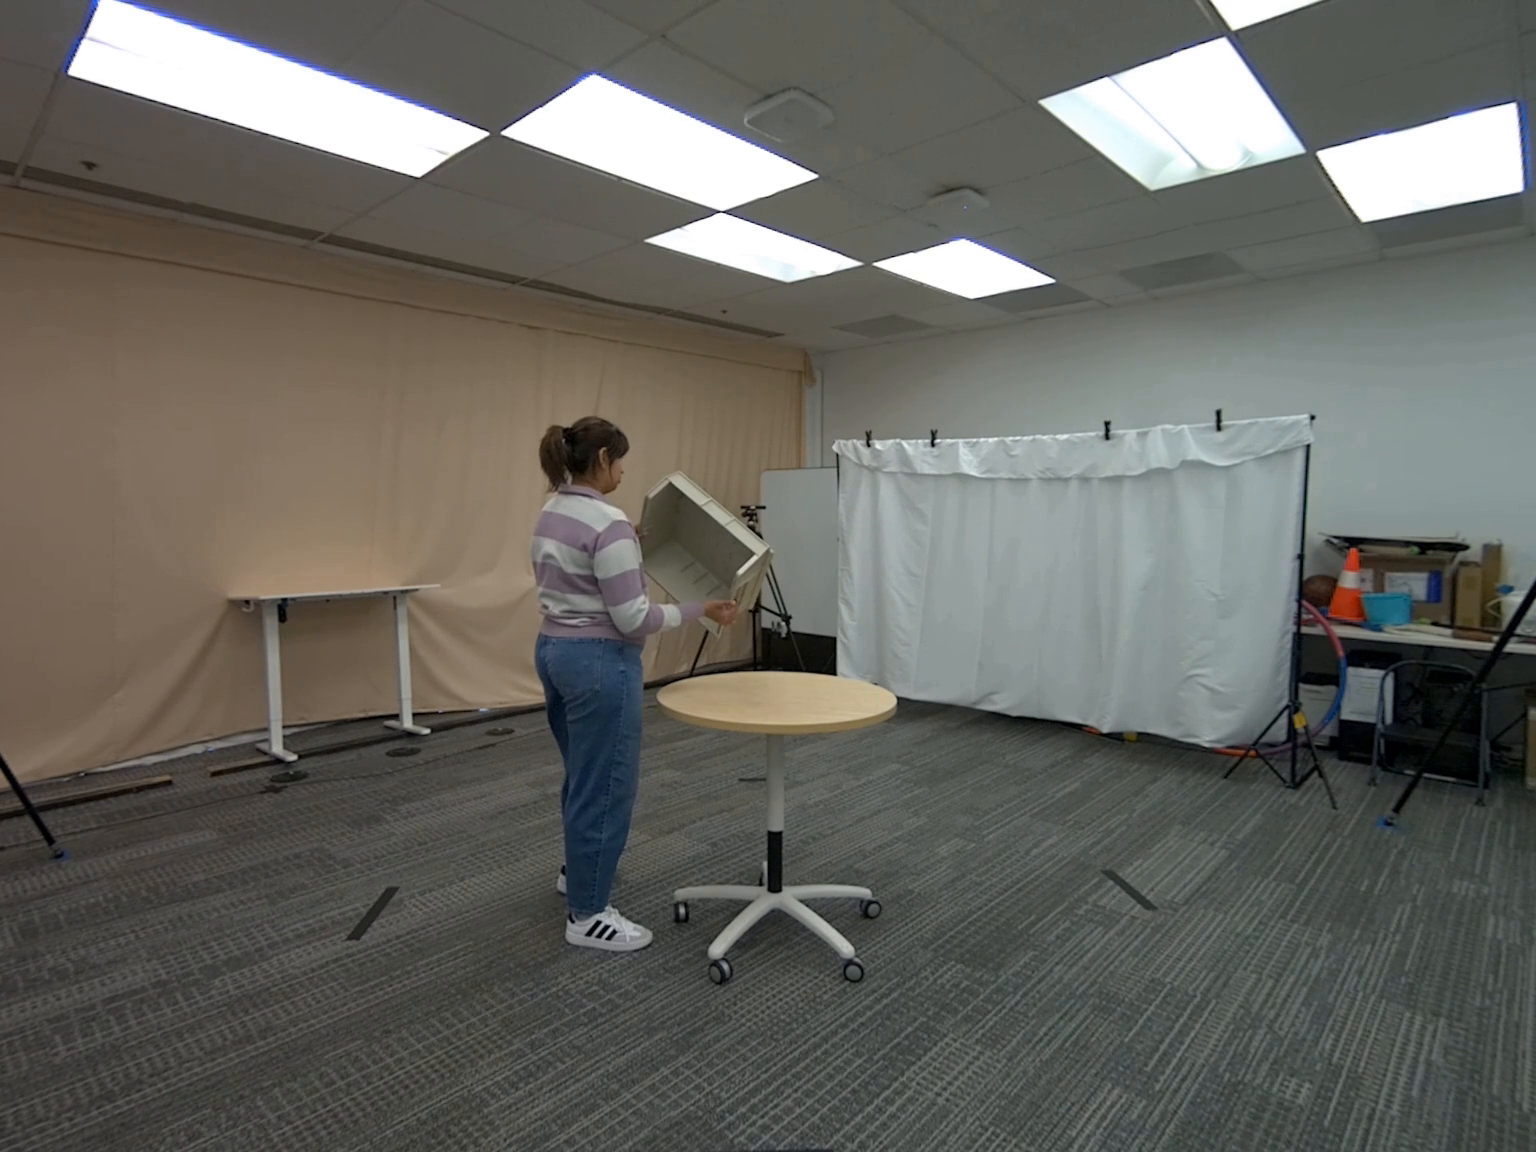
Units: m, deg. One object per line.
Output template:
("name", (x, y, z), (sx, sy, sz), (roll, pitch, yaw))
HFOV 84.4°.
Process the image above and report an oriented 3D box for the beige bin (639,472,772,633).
("beige bin", (-0.217, -0.077, 2.792), (0.431, 0.374, 0.186), (40, 53, 17))
